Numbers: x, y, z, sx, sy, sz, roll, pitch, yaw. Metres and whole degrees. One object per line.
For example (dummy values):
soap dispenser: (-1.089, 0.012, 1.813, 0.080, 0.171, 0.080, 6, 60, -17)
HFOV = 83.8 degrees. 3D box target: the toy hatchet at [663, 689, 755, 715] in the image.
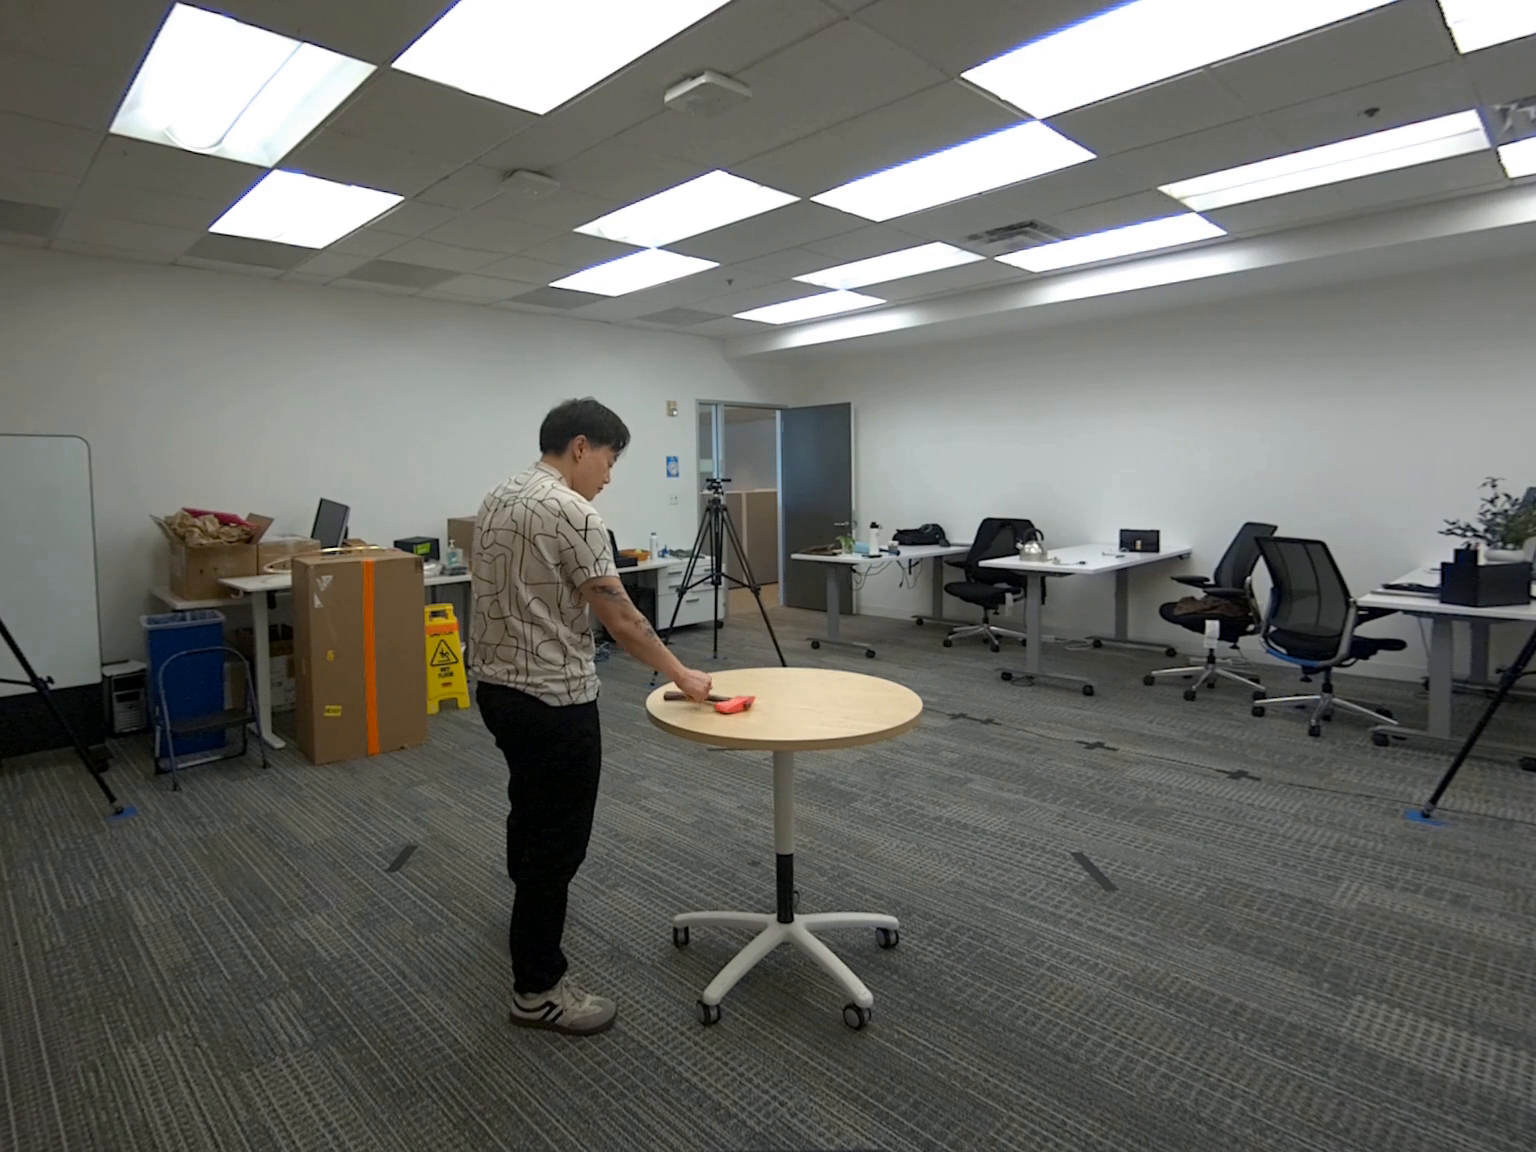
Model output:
toy hatchet: (-0.174, 0.341, 2.326, 0.275, 0.029, 0.129, 1, 8, 18)
